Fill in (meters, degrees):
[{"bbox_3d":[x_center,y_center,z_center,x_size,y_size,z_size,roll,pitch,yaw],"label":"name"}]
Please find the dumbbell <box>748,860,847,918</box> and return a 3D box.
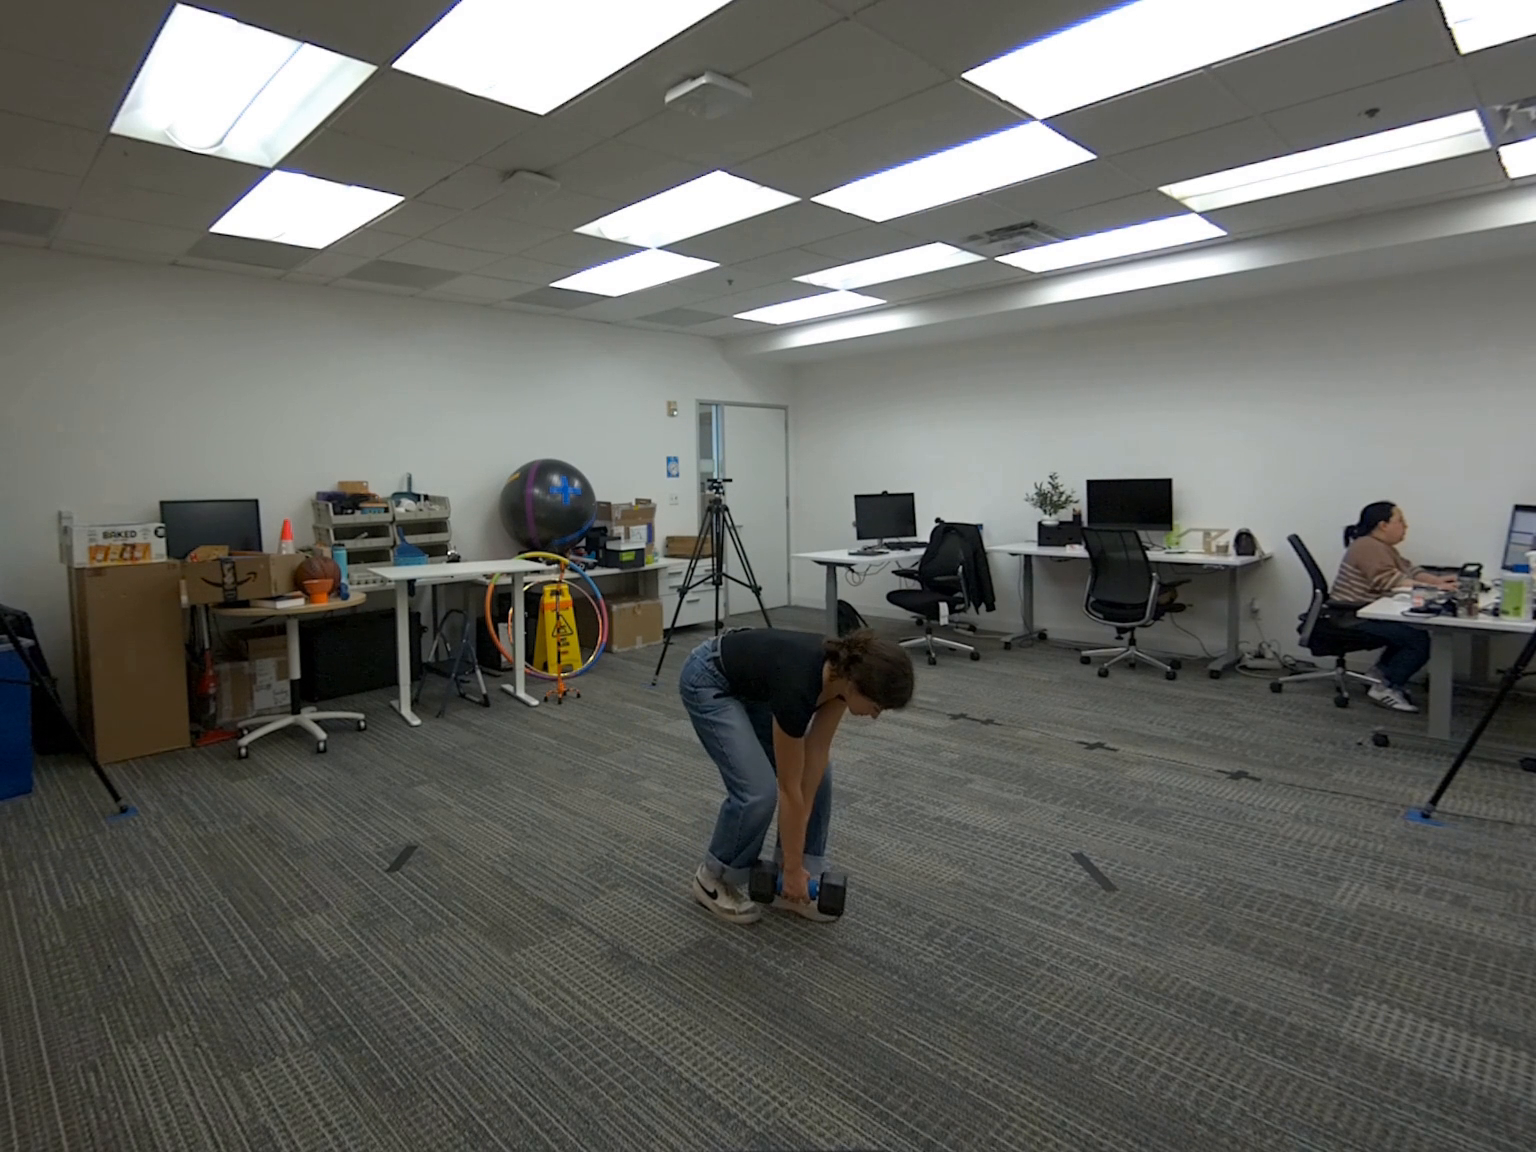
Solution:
[{"bbox_3d":[0.098,0.944,2.601,0.295,0.119,0.111,4,44,6],"label":"dumbbell"}]
